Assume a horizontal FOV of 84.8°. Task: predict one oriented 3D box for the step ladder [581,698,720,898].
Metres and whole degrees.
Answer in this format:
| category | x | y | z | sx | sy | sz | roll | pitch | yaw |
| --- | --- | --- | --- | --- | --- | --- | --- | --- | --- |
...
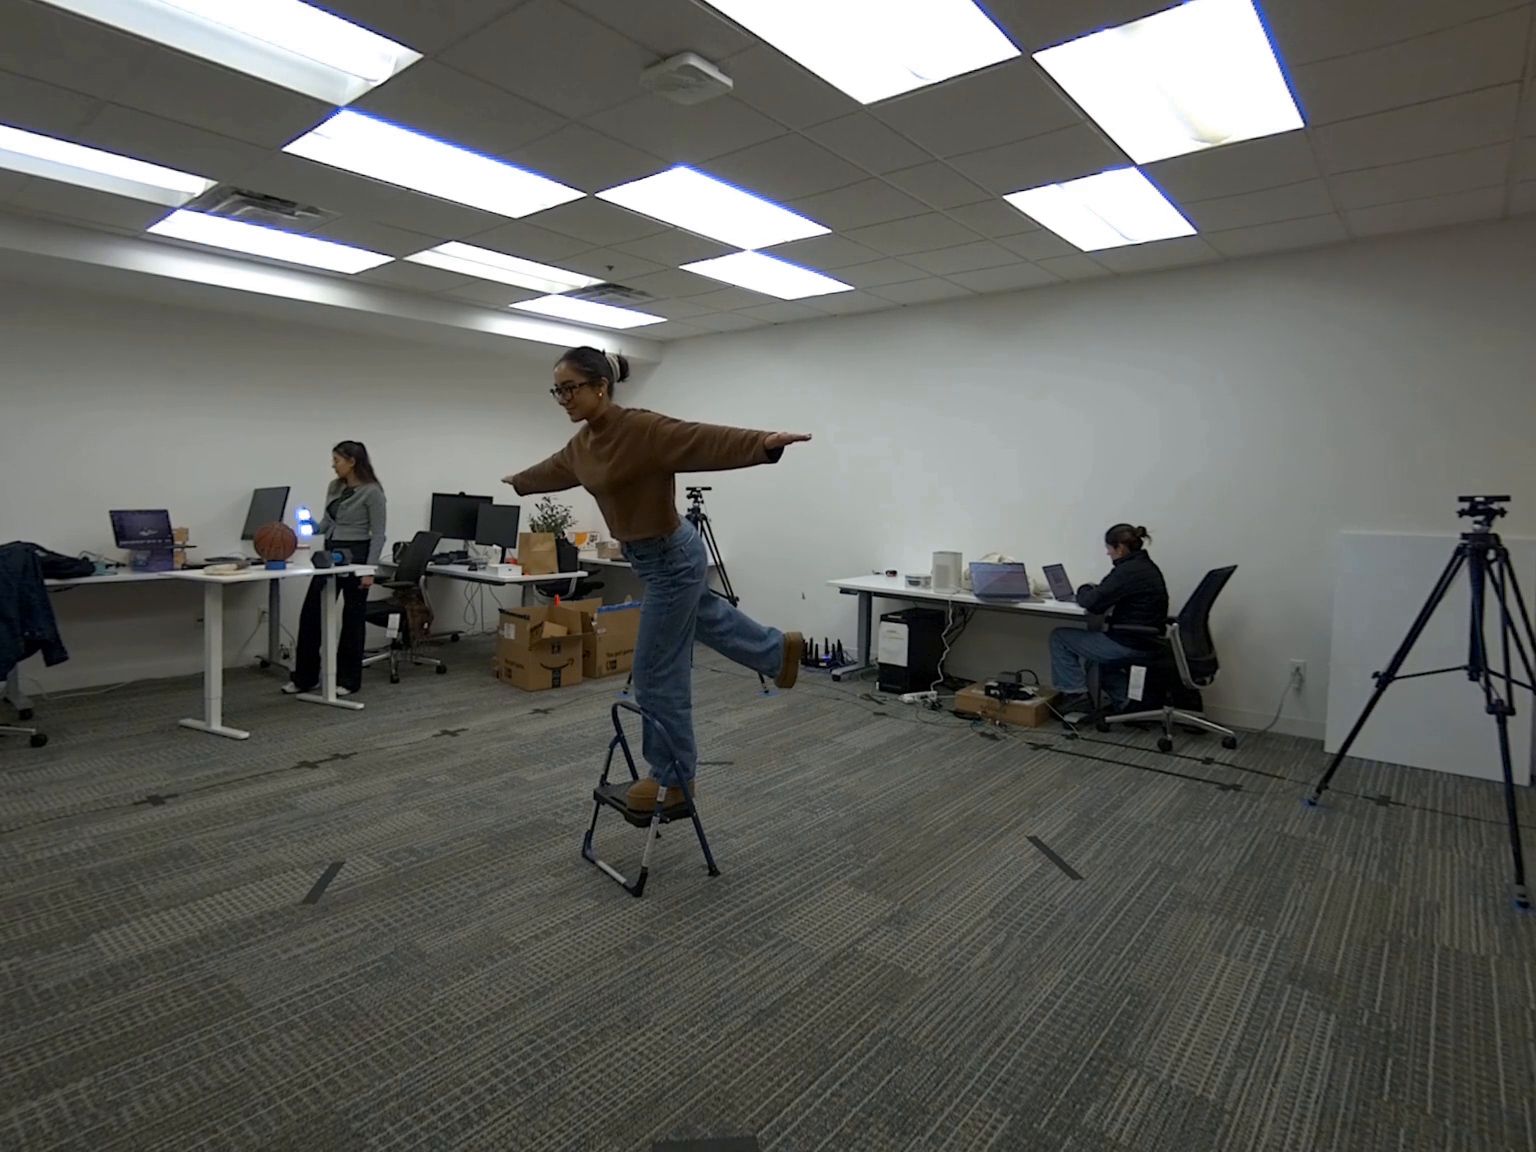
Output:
| category | x | y | z | sx | sy | sz | roll | pitch | yaw |
| --- | --- | --- | --- | --- | --- | --- | --- | --- | --- |
| step ladder | -0.447 | 0.760 | 3.117 | 0.339 | 0.604 | 0.445 | -2 | 5 | -39 |
